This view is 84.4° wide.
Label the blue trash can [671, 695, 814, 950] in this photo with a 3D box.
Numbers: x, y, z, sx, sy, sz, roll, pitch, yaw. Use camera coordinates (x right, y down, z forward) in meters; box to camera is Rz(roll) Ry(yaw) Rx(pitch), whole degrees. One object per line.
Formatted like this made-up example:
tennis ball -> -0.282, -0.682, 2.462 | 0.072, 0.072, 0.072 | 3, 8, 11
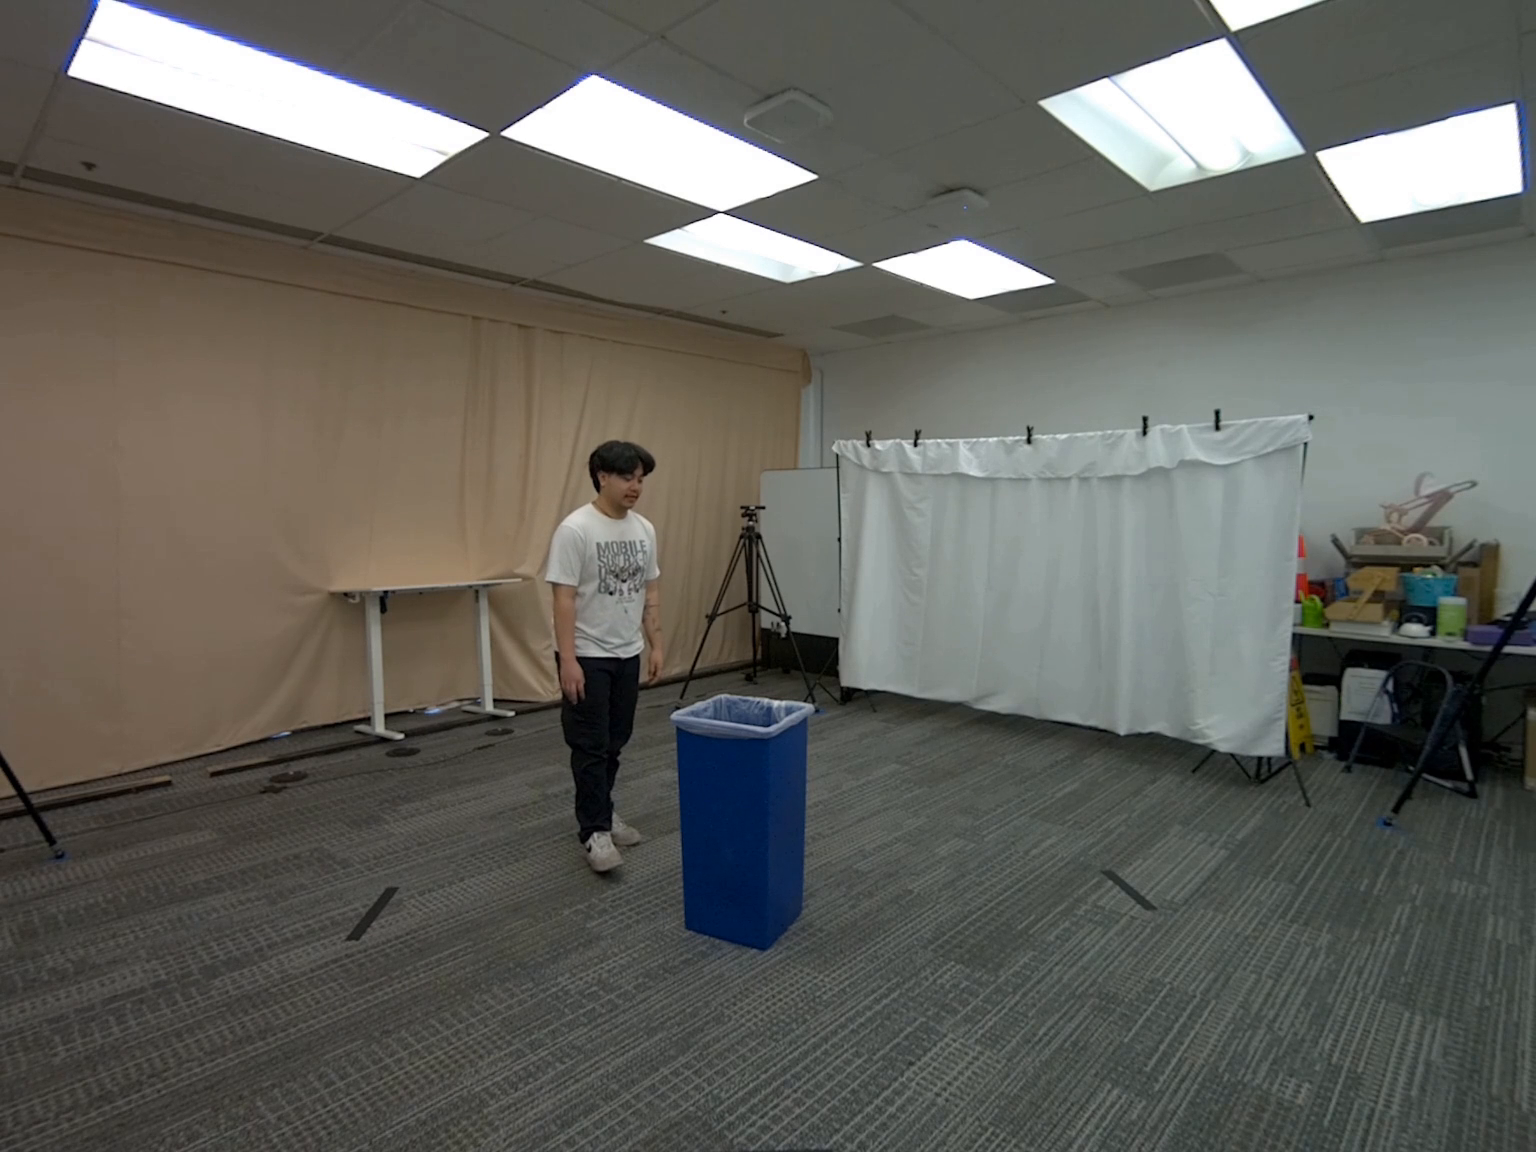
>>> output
blue trash can -> -0.075, 0.801, 2.804 | 0.388, 0.712, 0.365 | 1, 3, 27
